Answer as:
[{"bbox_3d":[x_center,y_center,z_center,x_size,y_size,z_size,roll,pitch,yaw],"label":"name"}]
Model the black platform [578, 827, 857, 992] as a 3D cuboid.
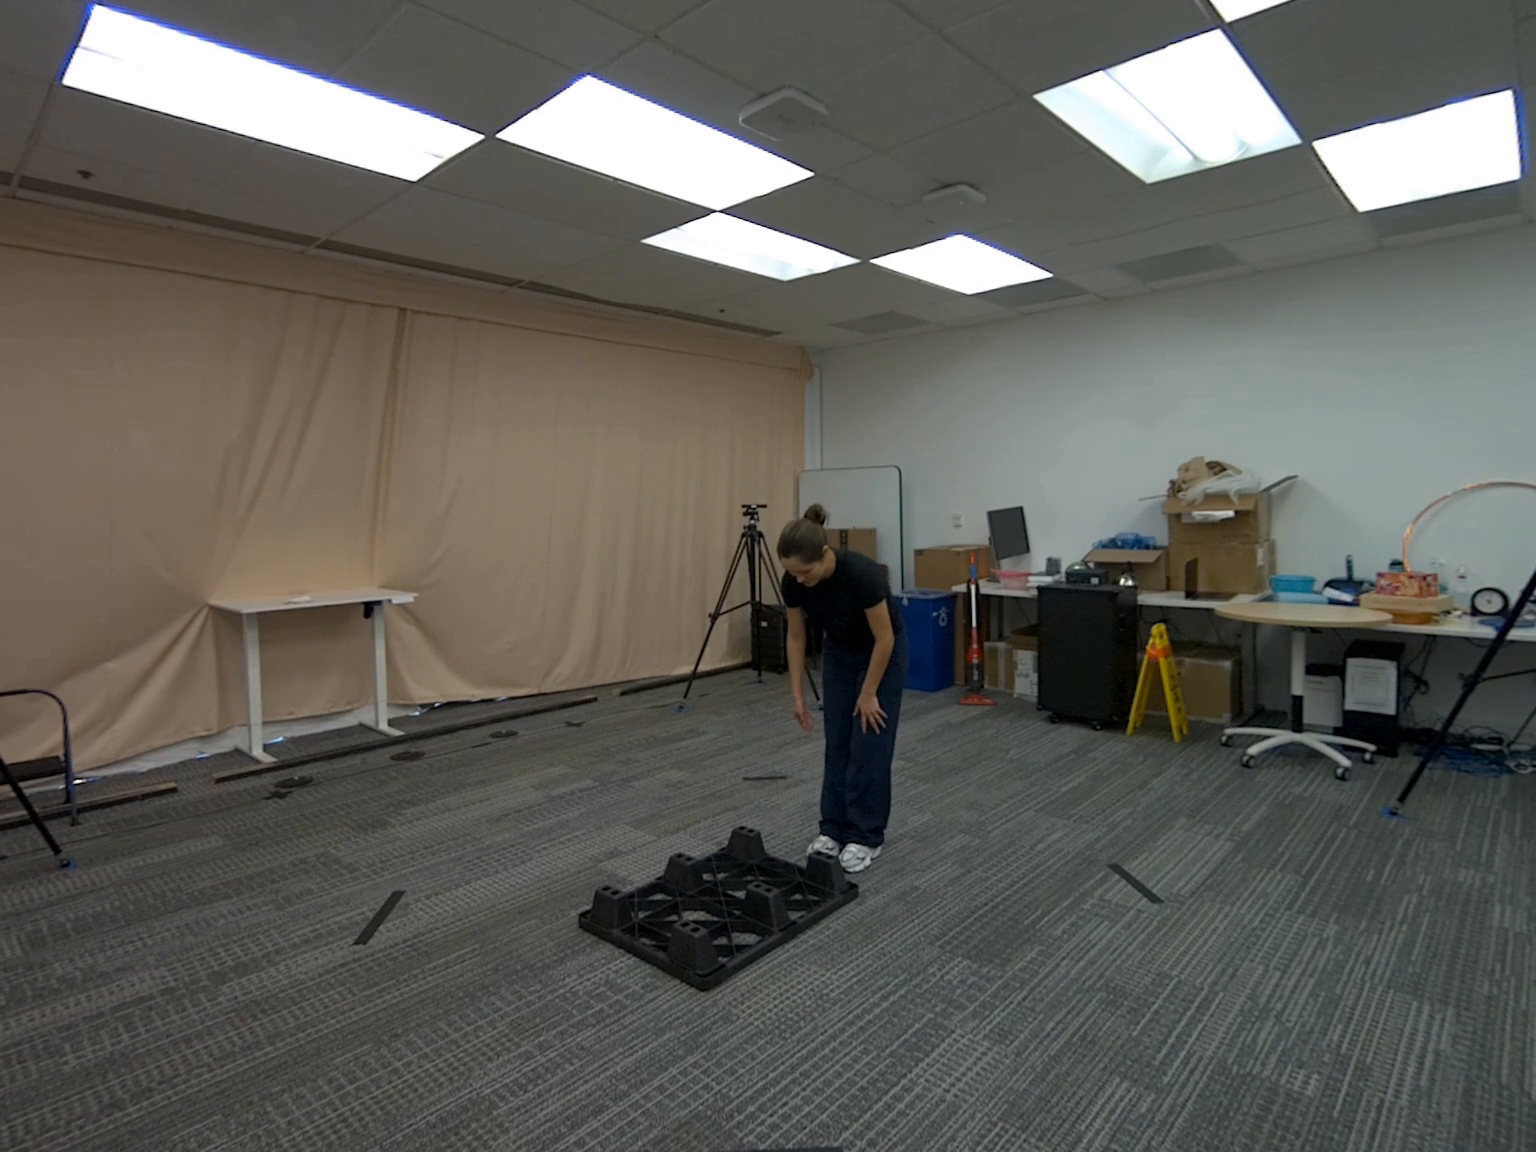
[{"bbox_3d":[-0.140,1.085,2.886,0.625,0.143,0.782,3,7,41],"label":"black platform"}]
